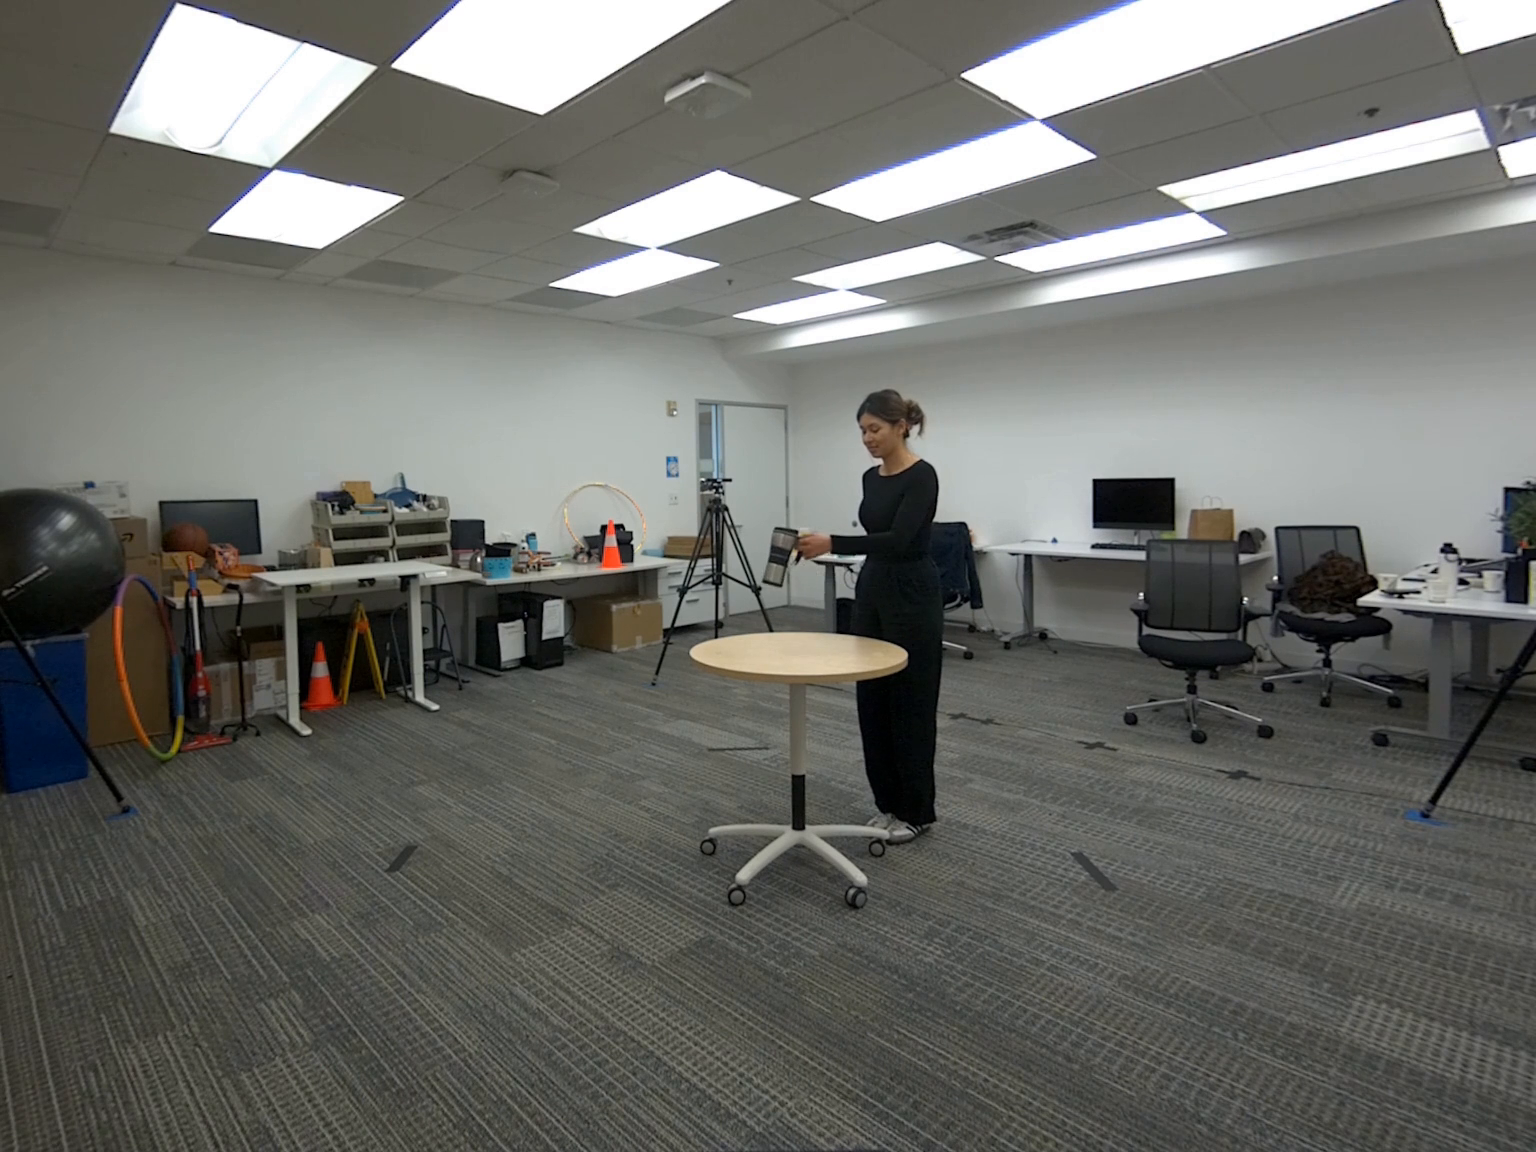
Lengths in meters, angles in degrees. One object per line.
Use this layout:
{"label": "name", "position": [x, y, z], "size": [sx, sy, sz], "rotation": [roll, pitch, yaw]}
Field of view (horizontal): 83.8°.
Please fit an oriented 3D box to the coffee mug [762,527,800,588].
{"label": "coffee mug", "position": [0.074, -0.050, 2.958], "size": [0.119, 0.203, 0.089], "rotation": [11, -3, -19]}
